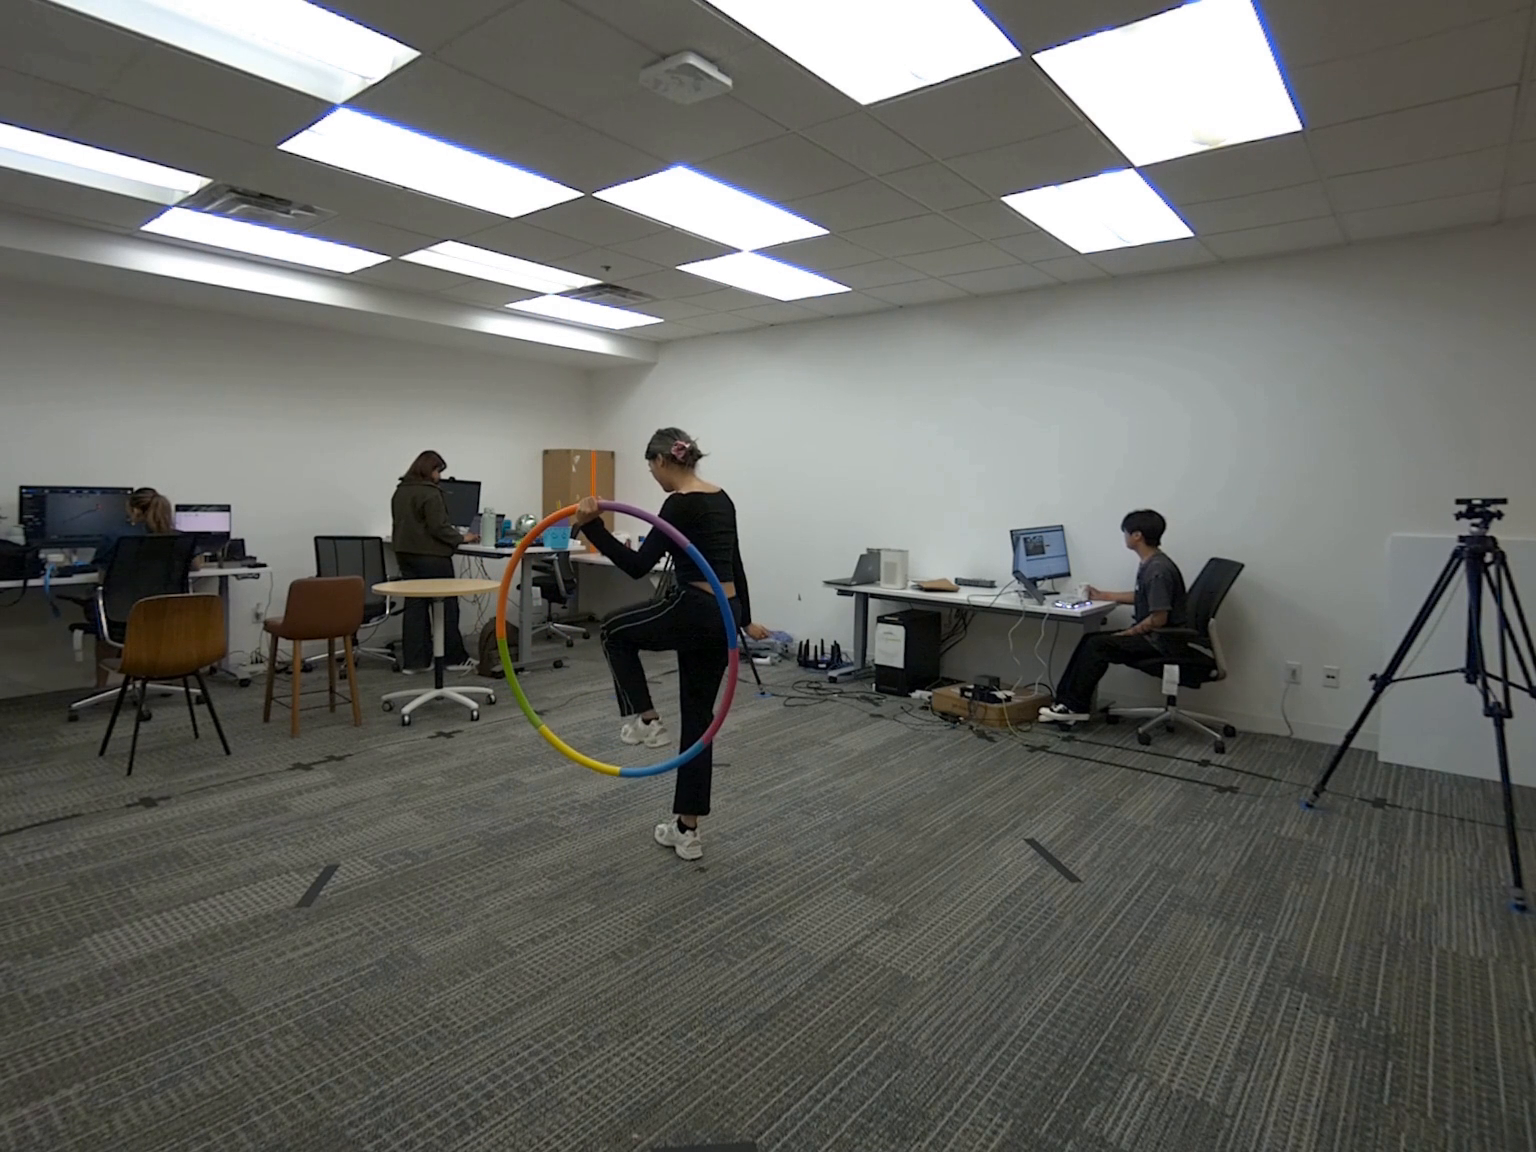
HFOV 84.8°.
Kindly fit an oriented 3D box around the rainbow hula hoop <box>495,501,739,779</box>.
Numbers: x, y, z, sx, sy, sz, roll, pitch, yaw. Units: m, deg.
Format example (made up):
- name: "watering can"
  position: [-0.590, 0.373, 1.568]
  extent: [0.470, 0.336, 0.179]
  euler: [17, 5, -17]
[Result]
- name: "rainbow hula hoop"
  position: [-0.563, 0.224, 3.012]
  extent: [1.001, 0.970, 0.035]
  euler: [3, 9, 22]
